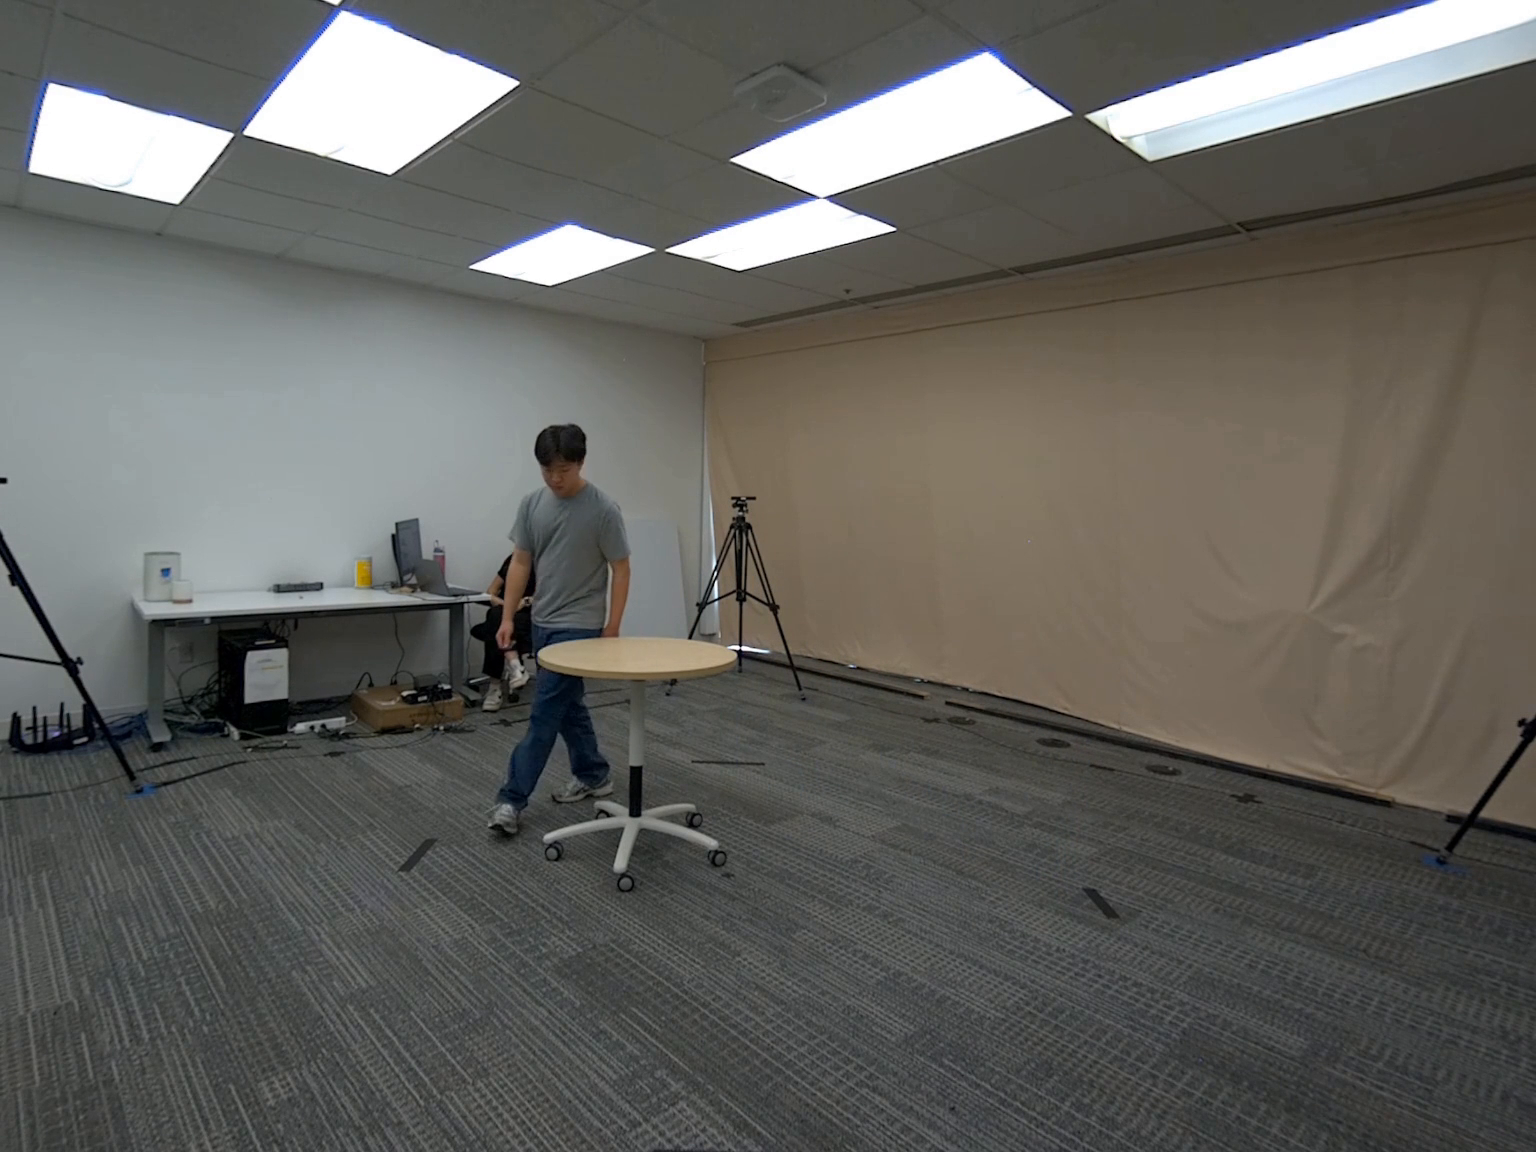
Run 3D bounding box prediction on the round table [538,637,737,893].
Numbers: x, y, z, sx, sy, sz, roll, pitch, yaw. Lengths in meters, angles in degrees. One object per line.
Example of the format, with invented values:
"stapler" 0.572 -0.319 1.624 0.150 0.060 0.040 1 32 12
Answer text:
"round table" -0.517 0.691 3.280 0.763 0.792 0.766 1 3 -1
